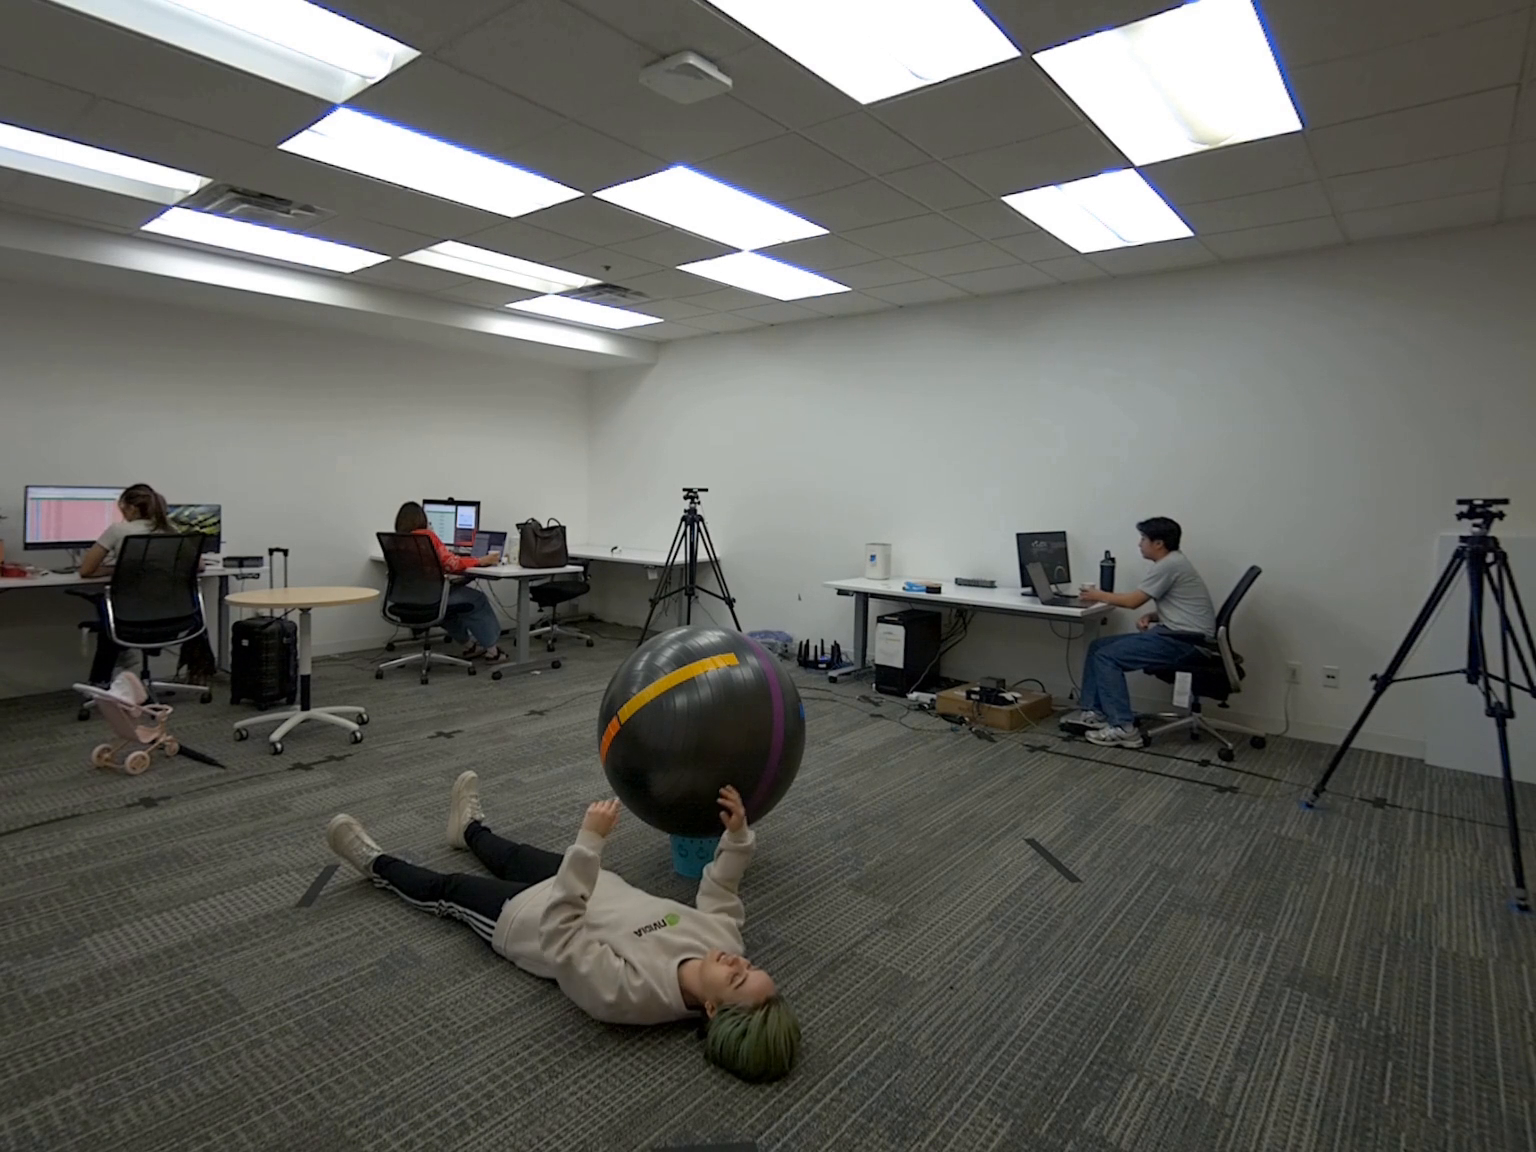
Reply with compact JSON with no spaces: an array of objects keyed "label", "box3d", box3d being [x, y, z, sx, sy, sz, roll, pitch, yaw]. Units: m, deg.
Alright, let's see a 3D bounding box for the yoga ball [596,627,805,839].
[{"label":"yoga ball","box3d":[-0.254,0.556,3.105,0.757,0.755,0.762,1,4,-2]}]
